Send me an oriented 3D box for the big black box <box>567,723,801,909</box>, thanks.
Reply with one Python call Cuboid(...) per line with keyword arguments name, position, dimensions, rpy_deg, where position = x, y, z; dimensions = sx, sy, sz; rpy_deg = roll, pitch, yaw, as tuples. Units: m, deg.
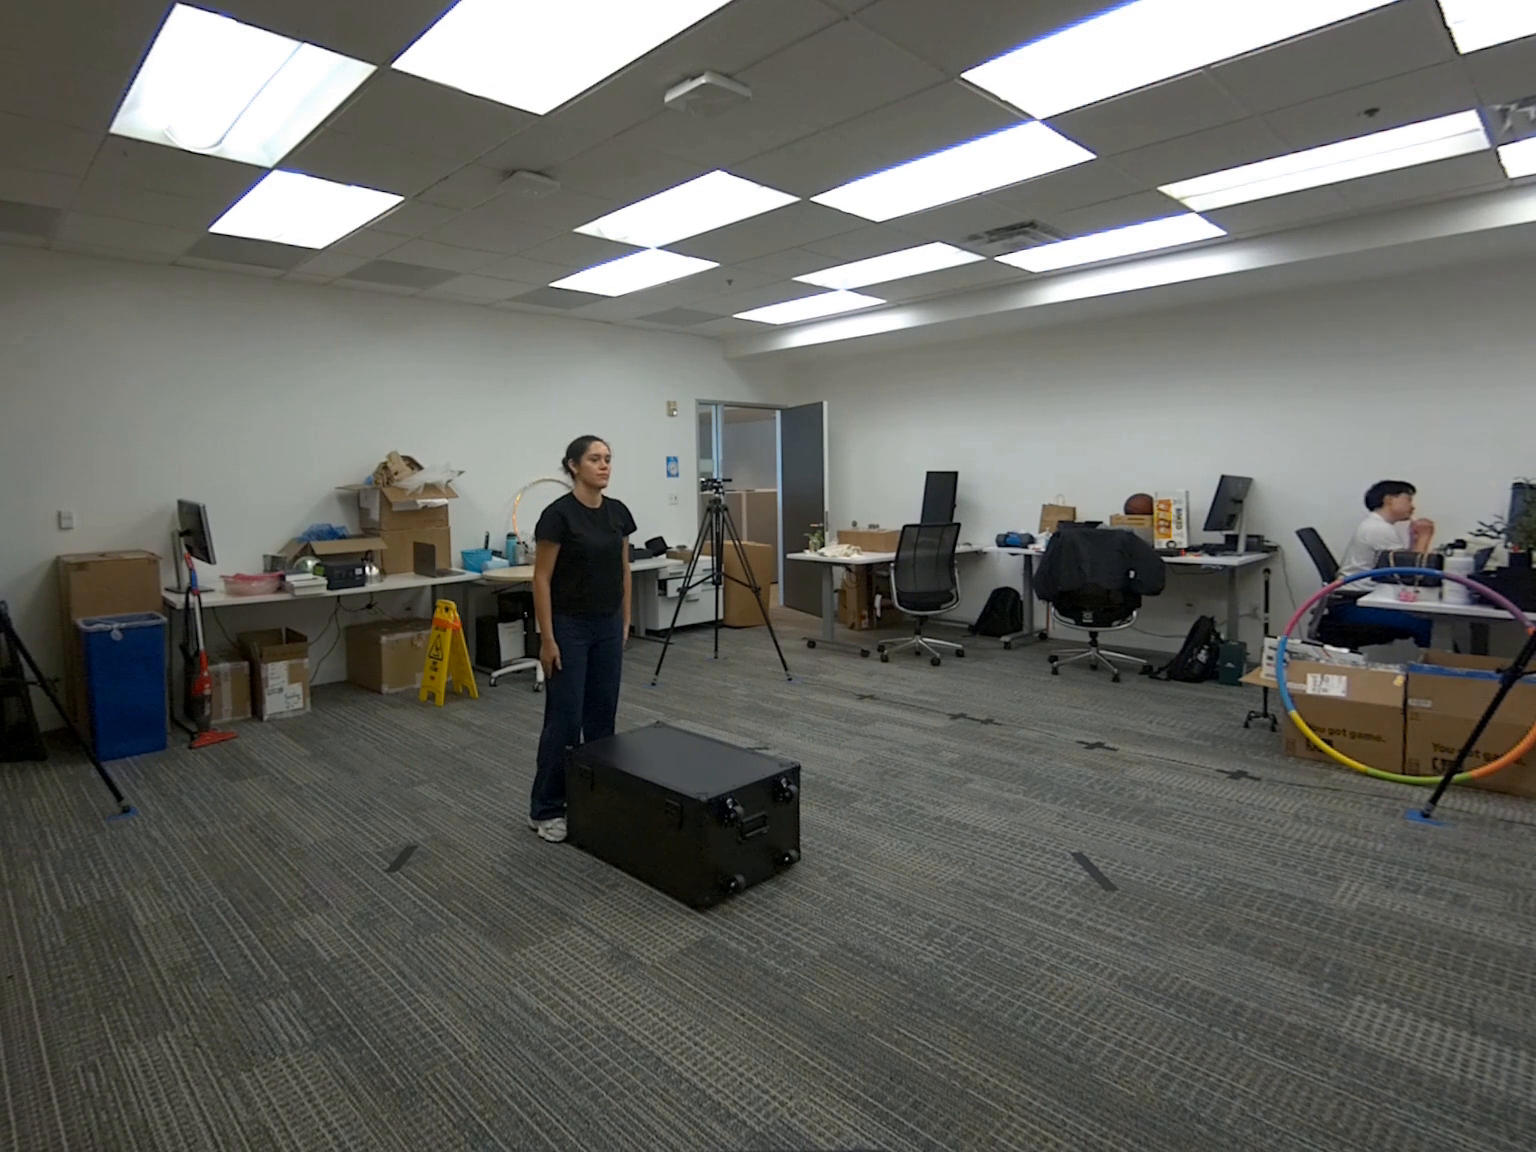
Cuboid(name="big black box", position=(-0.304, 0.837, 3.160), dimensions=(0.888, 0.394, 0.507), rpy_deg=(5, 8, 44))
